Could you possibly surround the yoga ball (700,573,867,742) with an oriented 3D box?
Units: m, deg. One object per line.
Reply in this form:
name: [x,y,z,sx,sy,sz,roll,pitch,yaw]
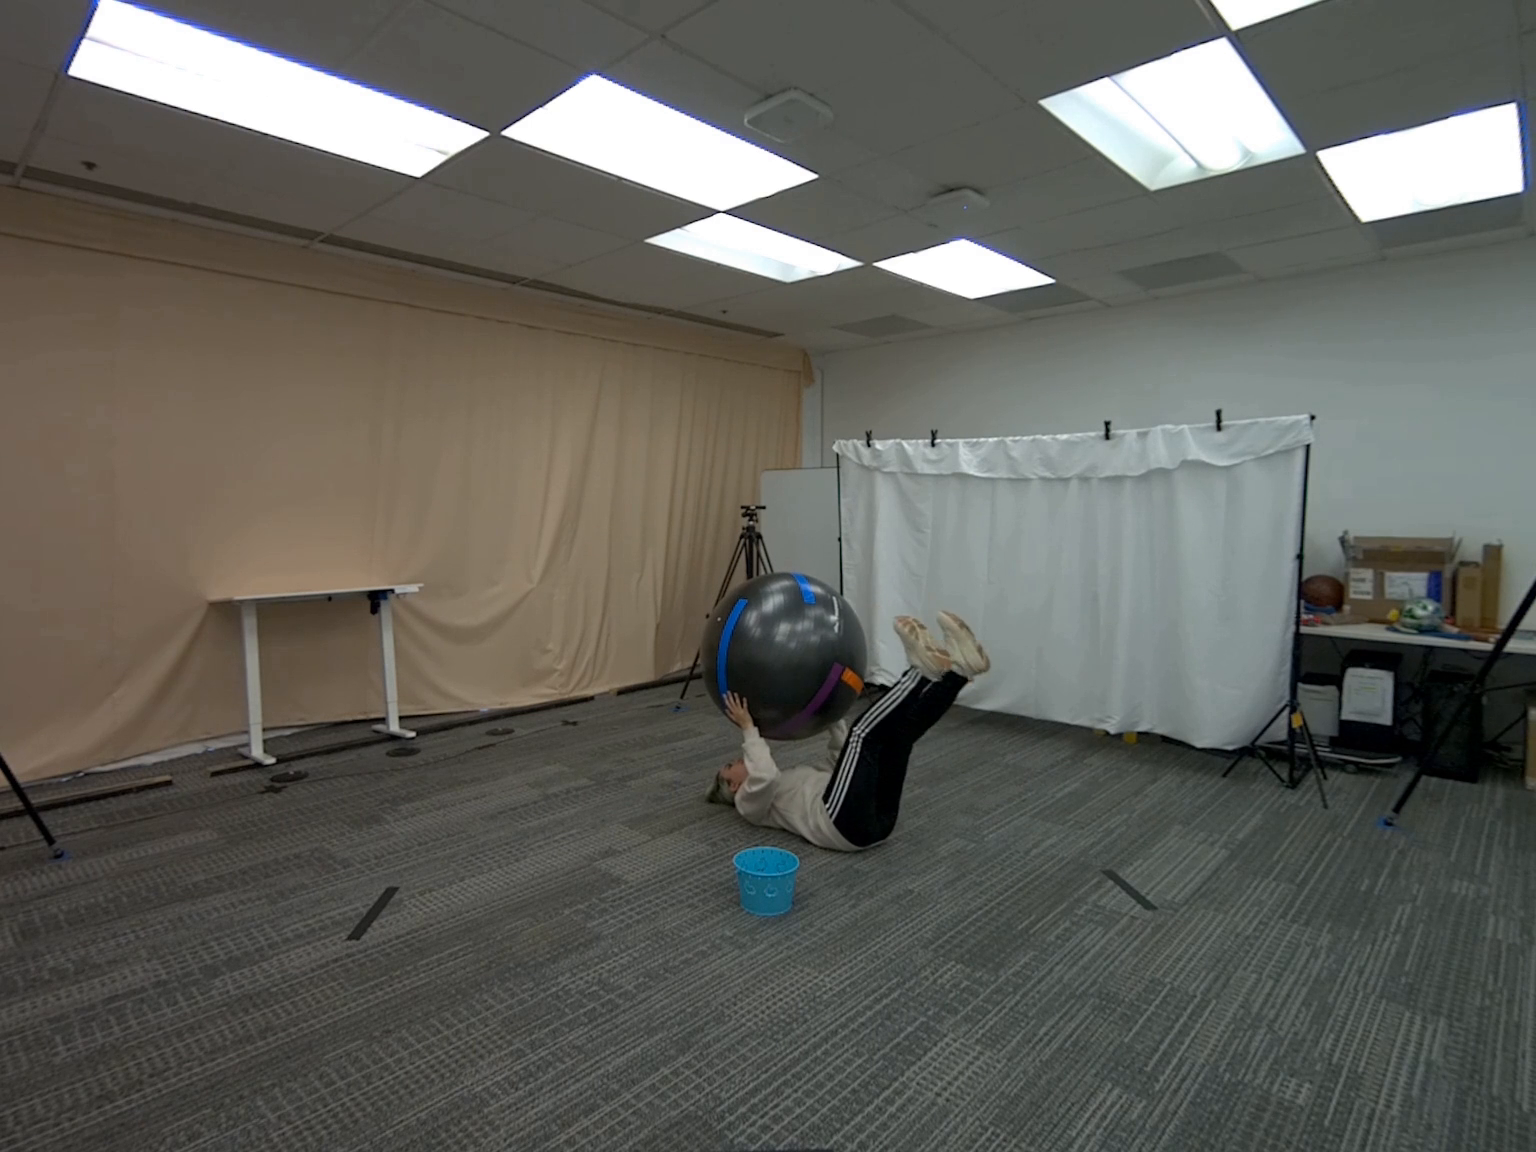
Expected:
yoga ball: [0.067,0.363,3.829,0.757,0.756,0.760,0,4,-2]
